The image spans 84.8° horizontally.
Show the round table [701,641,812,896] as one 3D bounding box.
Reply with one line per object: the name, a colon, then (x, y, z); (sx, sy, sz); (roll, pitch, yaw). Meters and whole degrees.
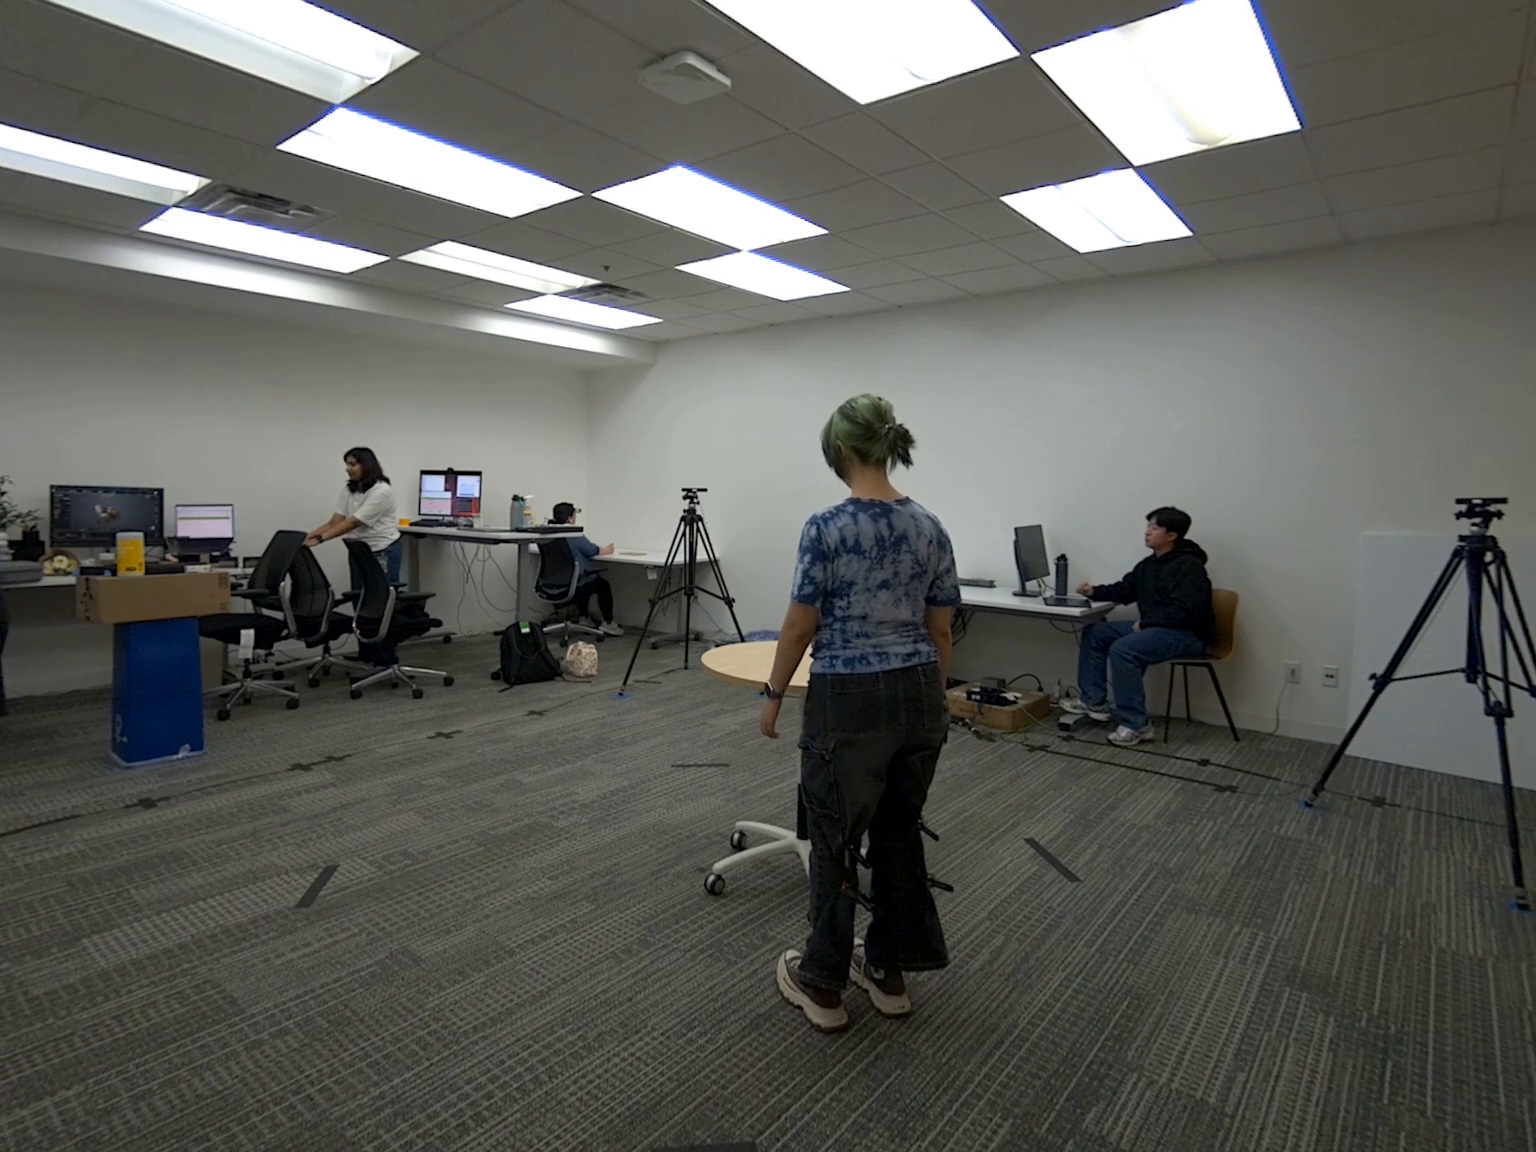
round table: (0.115, 0.693, 3.050); (0.763, 0.791, 0.768); (1, 4, -2)
